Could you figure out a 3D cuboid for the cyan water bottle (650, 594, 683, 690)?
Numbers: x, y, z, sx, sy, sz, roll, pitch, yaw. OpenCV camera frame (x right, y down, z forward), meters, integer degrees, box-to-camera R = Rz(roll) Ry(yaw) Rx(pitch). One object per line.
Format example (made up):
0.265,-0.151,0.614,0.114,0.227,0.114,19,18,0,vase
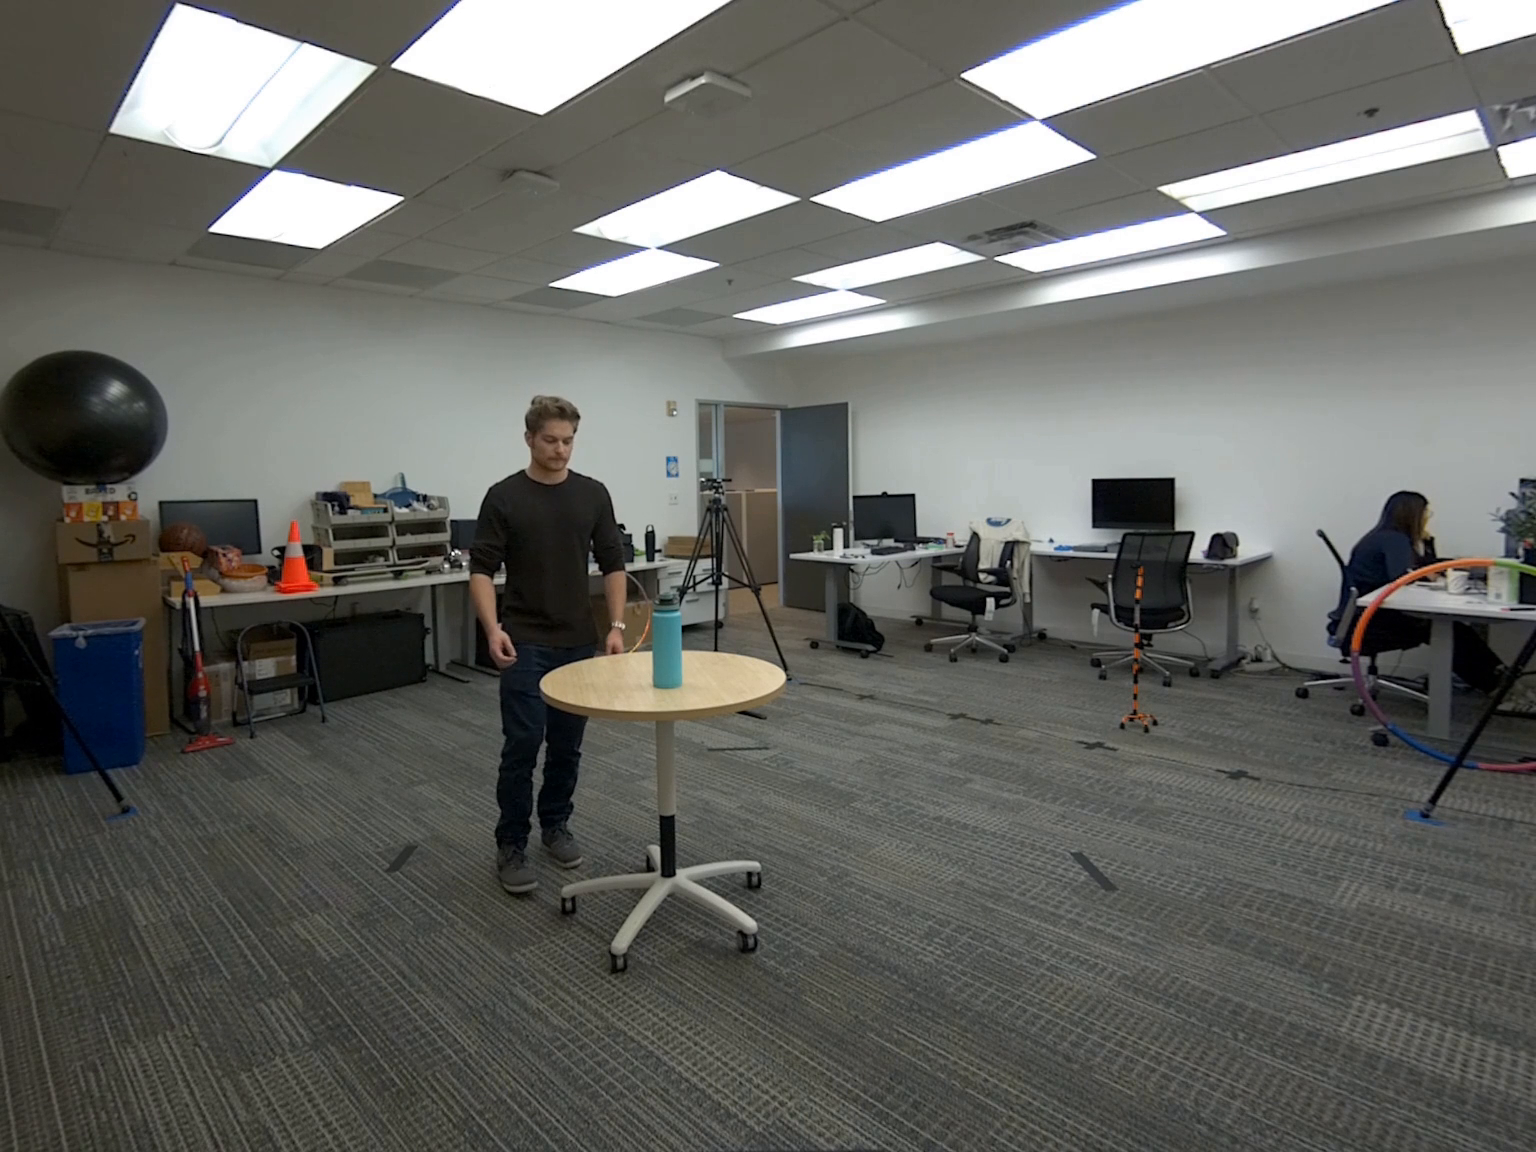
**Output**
-0.303,0.191,2.560,0.092,0.283,0.092,-2,2,-2,cyan water bottle
